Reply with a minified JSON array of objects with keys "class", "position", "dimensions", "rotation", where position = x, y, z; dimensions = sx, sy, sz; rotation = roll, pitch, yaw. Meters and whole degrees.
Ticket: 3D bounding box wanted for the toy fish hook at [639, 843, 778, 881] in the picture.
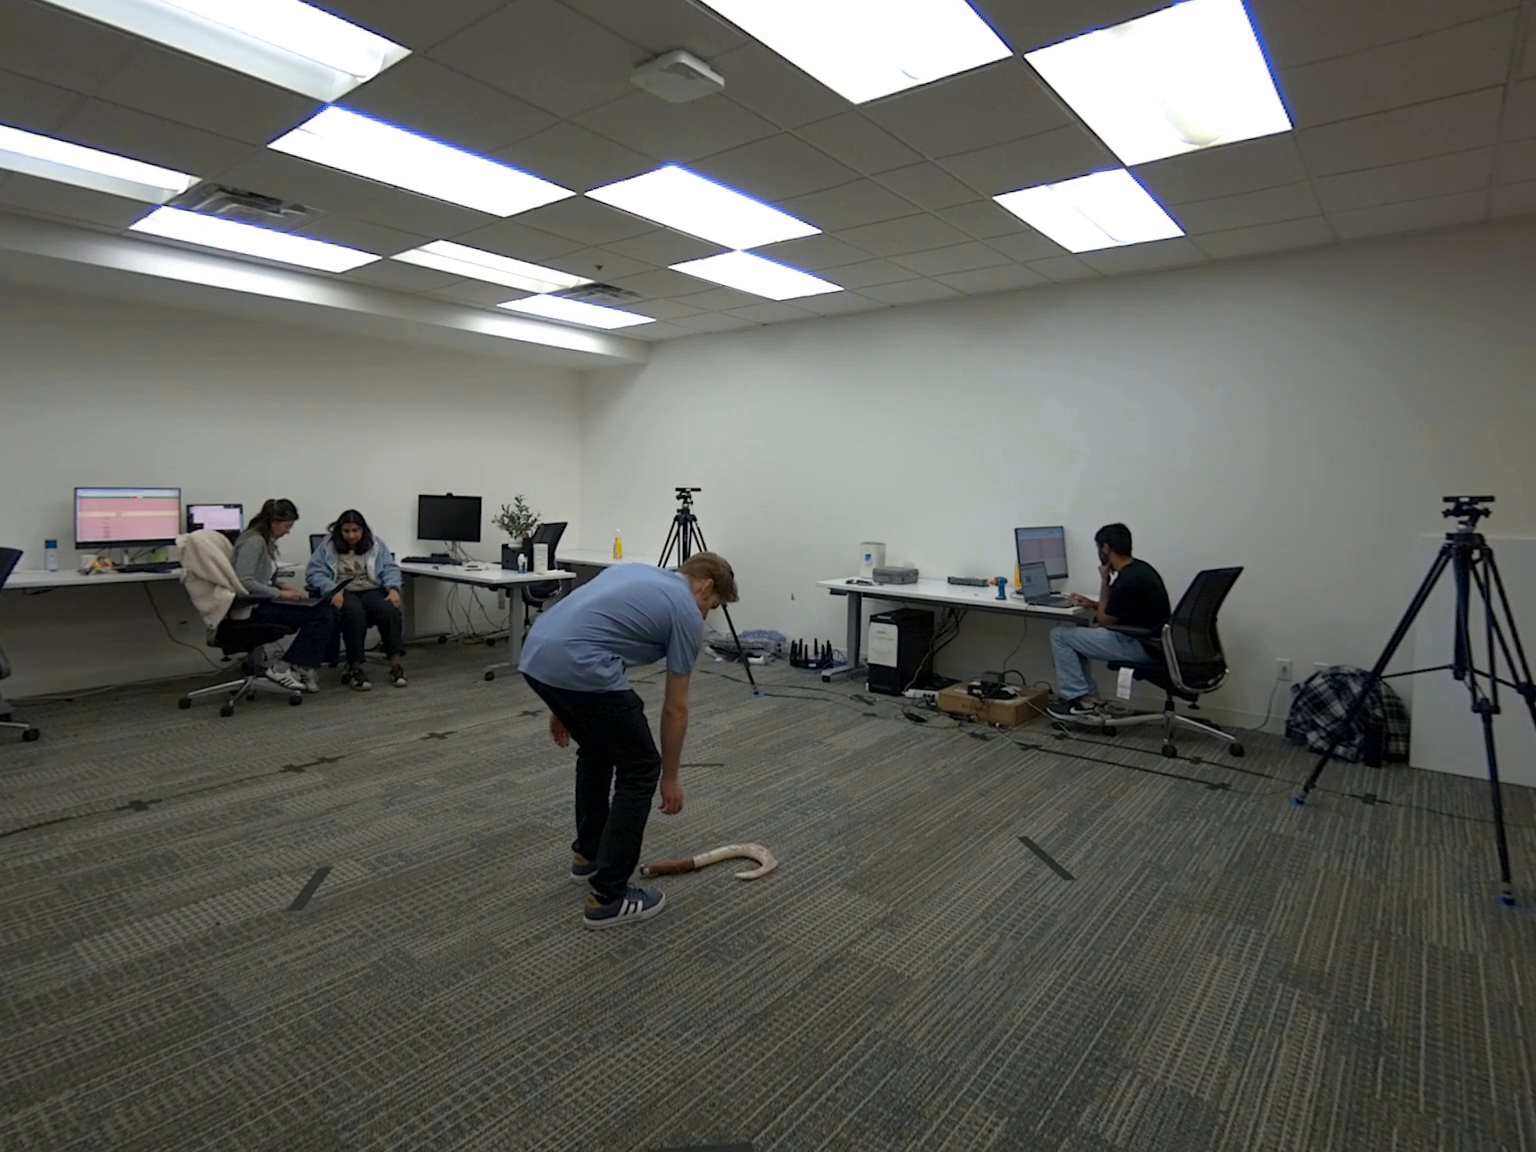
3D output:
[{"class":"toy fish hook","position":[-0.214,1.053,3.080],"dimensions":[0.495,0.048,0.231],"rotation":[-2,6,-24]}]
